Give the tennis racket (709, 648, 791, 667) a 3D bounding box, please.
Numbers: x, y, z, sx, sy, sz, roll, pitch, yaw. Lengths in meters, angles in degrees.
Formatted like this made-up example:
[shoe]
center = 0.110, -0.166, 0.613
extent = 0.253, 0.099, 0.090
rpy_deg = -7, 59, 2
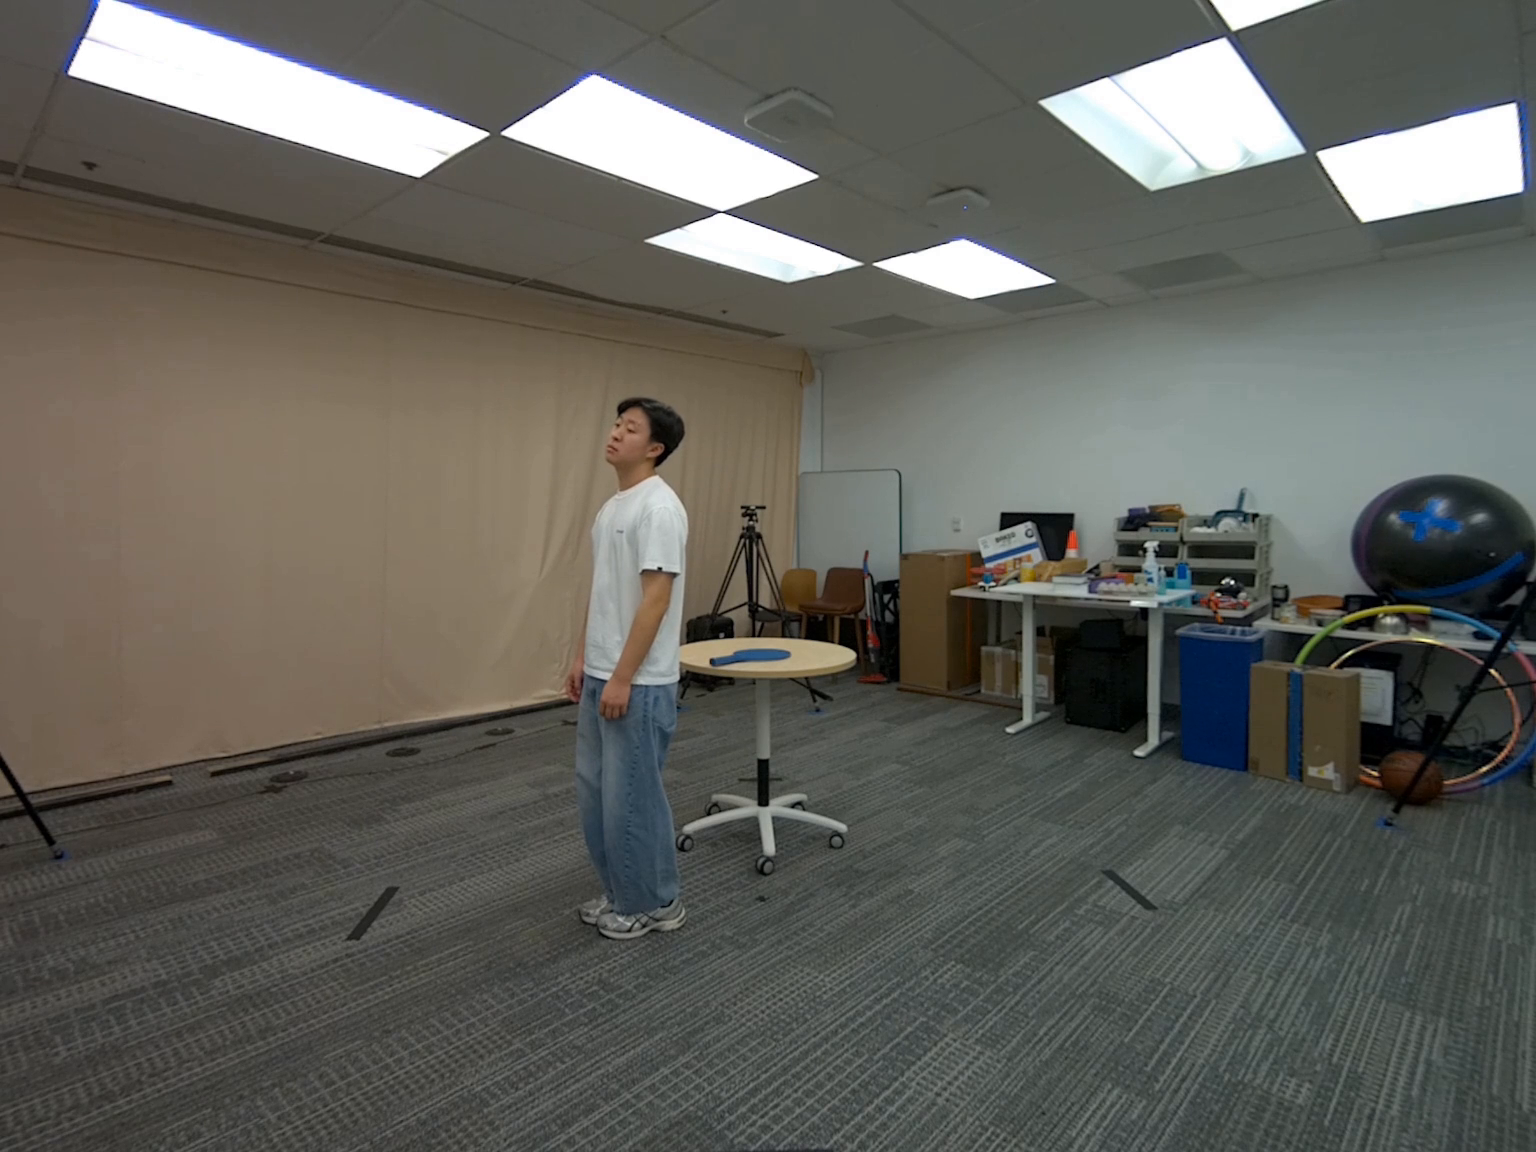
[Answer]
[tennis racket]
center = -0.078, 0.322, 3.351
extent = 0.221, 0.032, 0.419
rpy_deg = 4, 5, 42
